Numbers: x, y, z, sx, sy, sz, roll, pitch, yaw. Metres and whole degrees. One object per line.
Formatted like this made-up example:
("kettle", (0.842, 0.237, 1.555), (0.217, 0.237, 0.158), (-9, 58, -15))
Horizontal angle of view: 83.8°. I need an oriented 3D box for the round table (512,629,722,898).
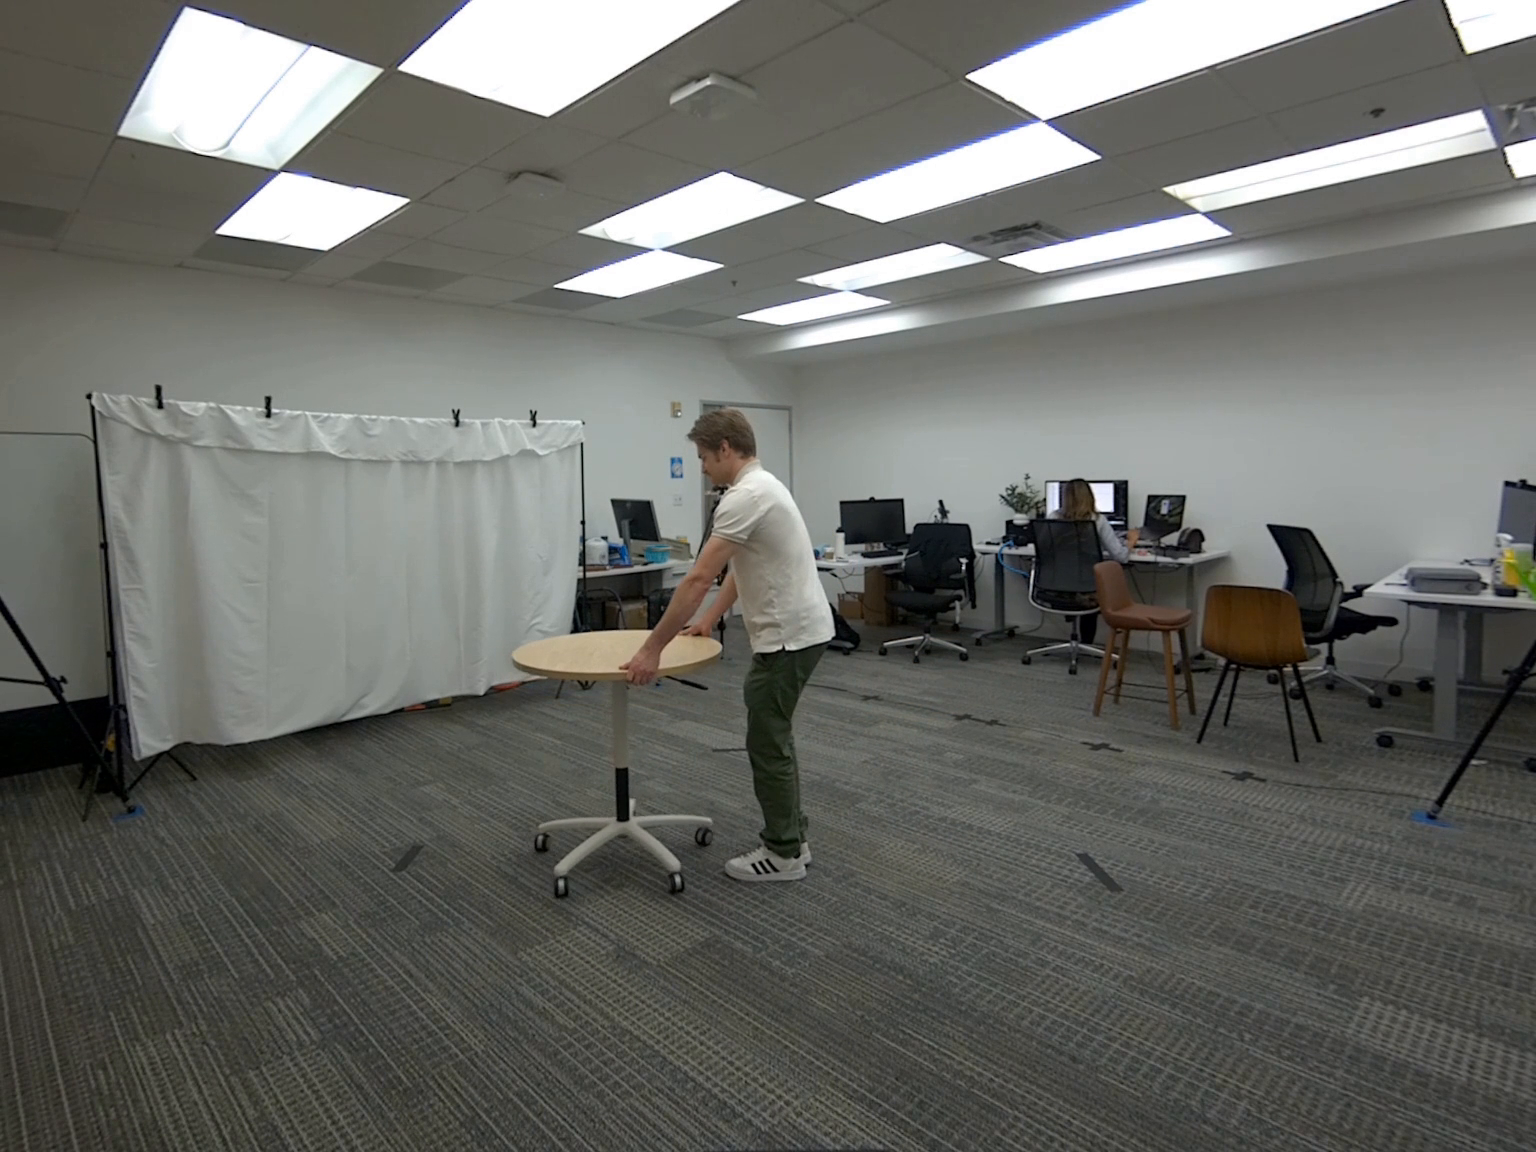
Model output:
("round table", (-0.536, 0.658, 3.168), (0.763, 0.791, 0.768), (-1, 5, -2))
